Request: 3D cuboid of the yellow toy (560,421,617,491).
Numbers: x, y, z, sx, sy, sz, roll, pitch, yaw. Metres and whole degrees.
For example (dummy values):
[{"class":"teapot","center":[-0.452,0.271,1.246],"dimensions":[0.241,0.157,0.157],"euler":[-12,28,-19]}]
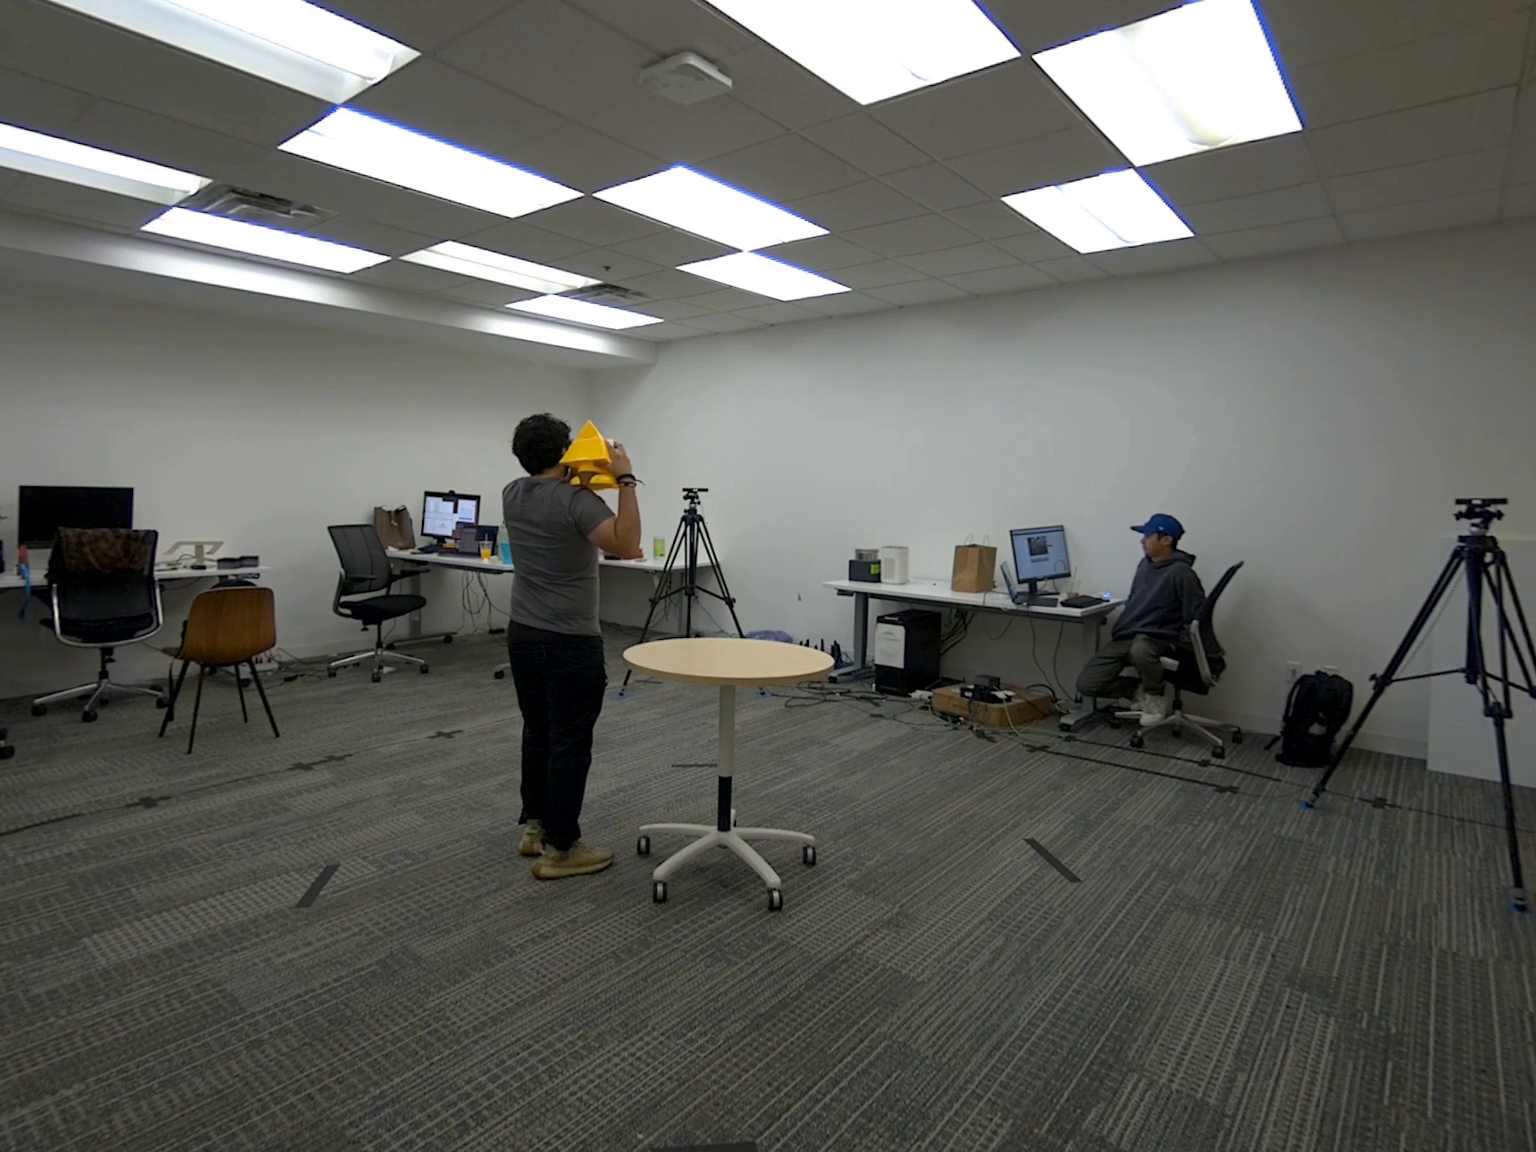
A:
[{"class":"yellow toy","center":[-0.624,-0.438,3.063],"dimensions":[0.210,0.232,0.187],"euler":[-1,-6,28]}]
